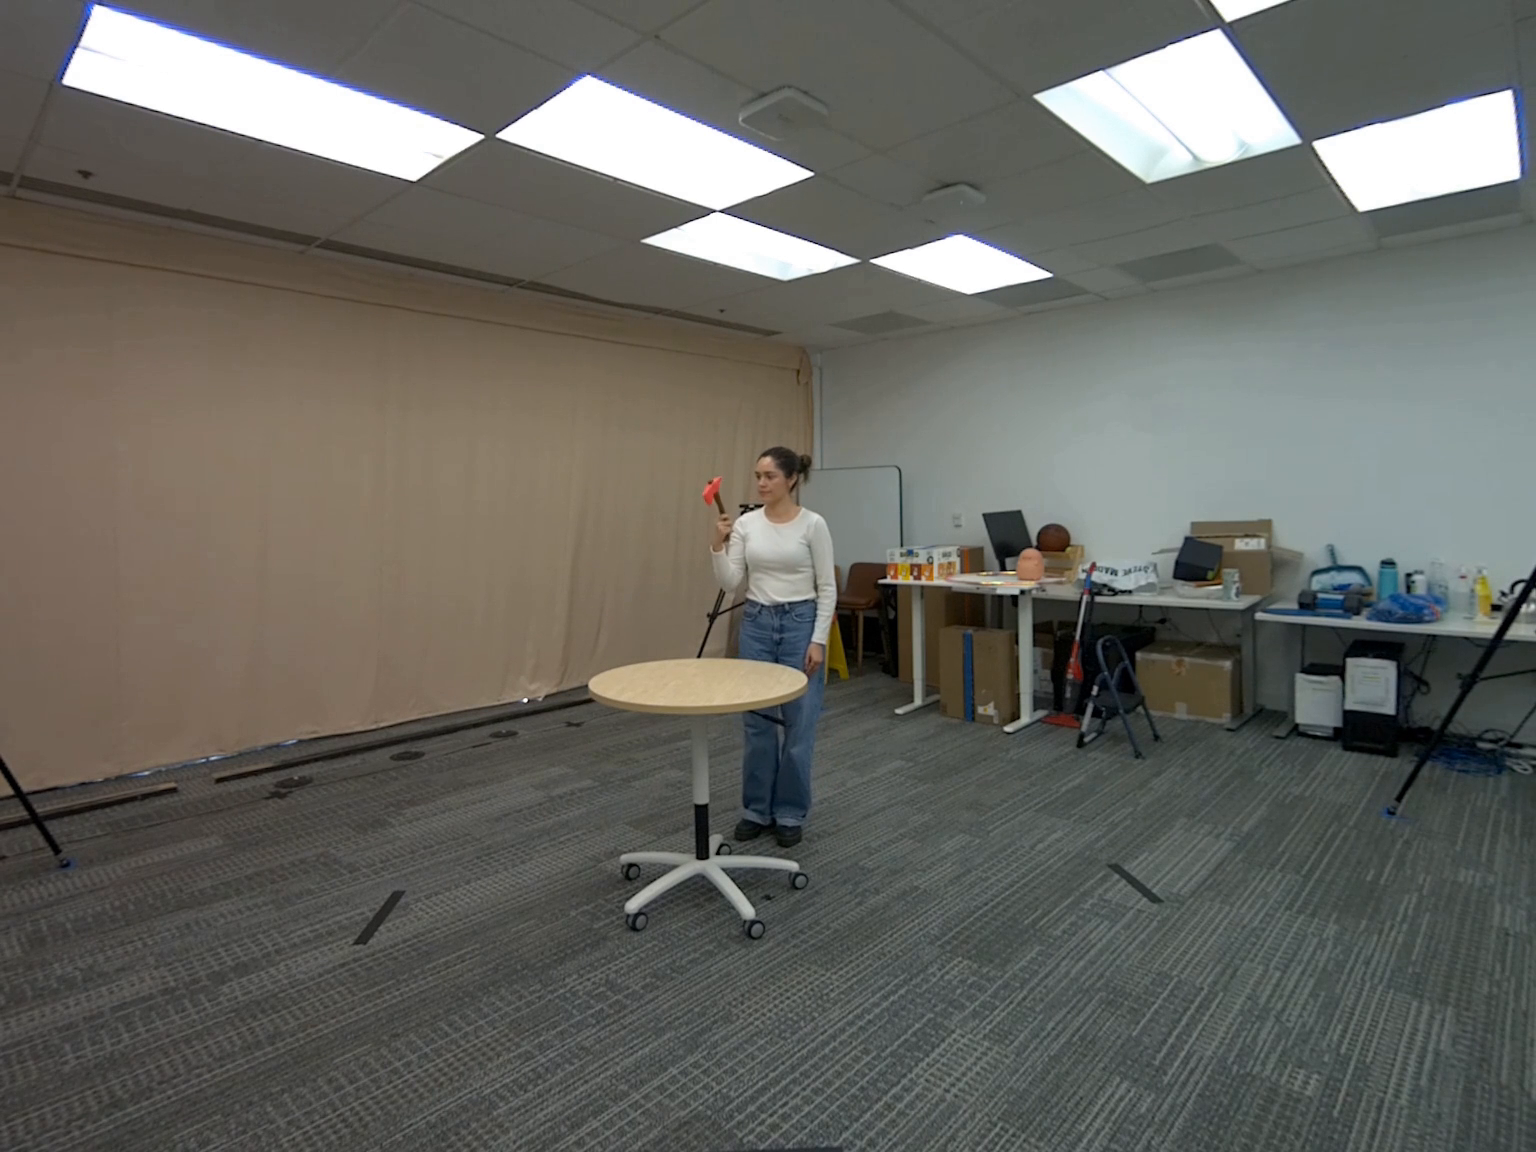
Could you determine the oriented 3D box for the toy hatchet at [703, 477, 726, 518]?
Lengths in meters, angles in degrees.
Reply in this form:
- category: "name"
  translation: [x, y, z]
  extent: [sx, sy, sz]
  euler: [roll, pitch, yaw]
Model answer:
- category: "toy hatchet"
  translation: [-0.204, -0.253, 3.330]
  extent: [0.030, 0.266, 0.129]
  euler: [3, 22, 33]
